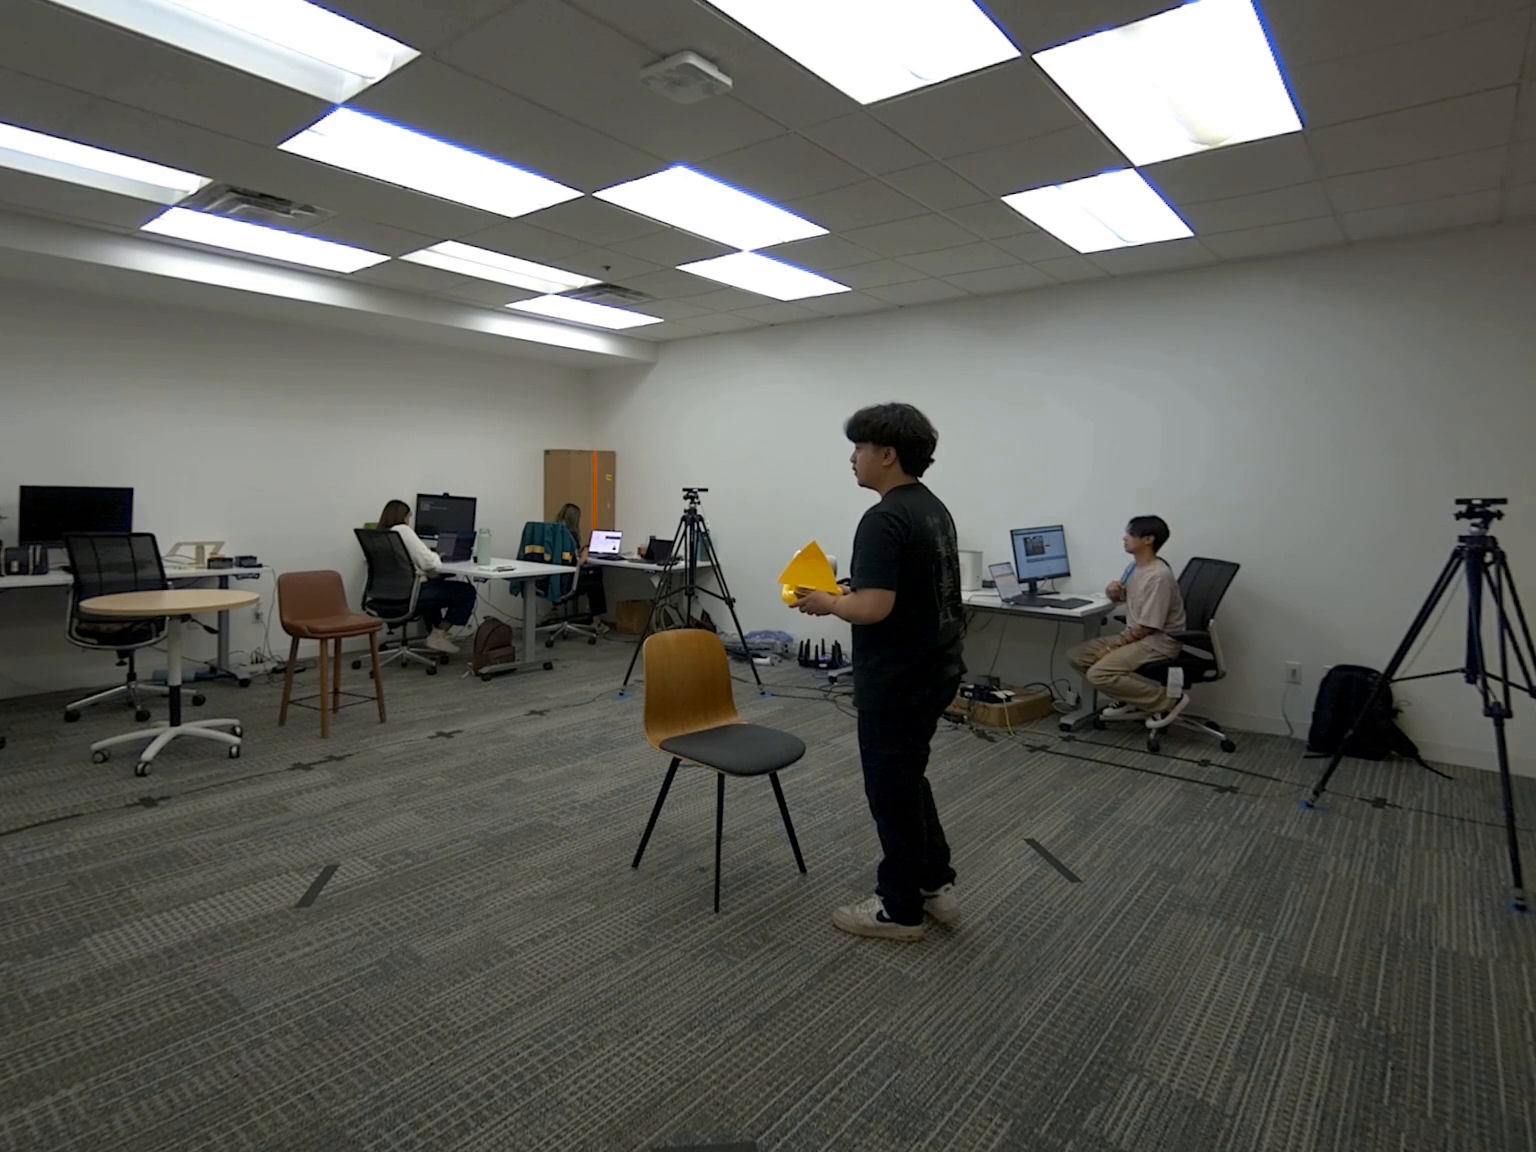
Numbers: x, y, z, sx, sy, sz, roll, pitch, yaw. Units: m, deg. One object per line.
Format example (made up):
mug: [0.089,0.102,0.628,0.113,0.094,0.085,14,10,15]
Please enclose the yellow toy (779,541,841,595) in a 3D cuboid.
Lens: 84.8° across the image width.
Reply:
yellow toy: [0.153,-0.026,2.785,0.209,0.227,0.192,9,19,16]
